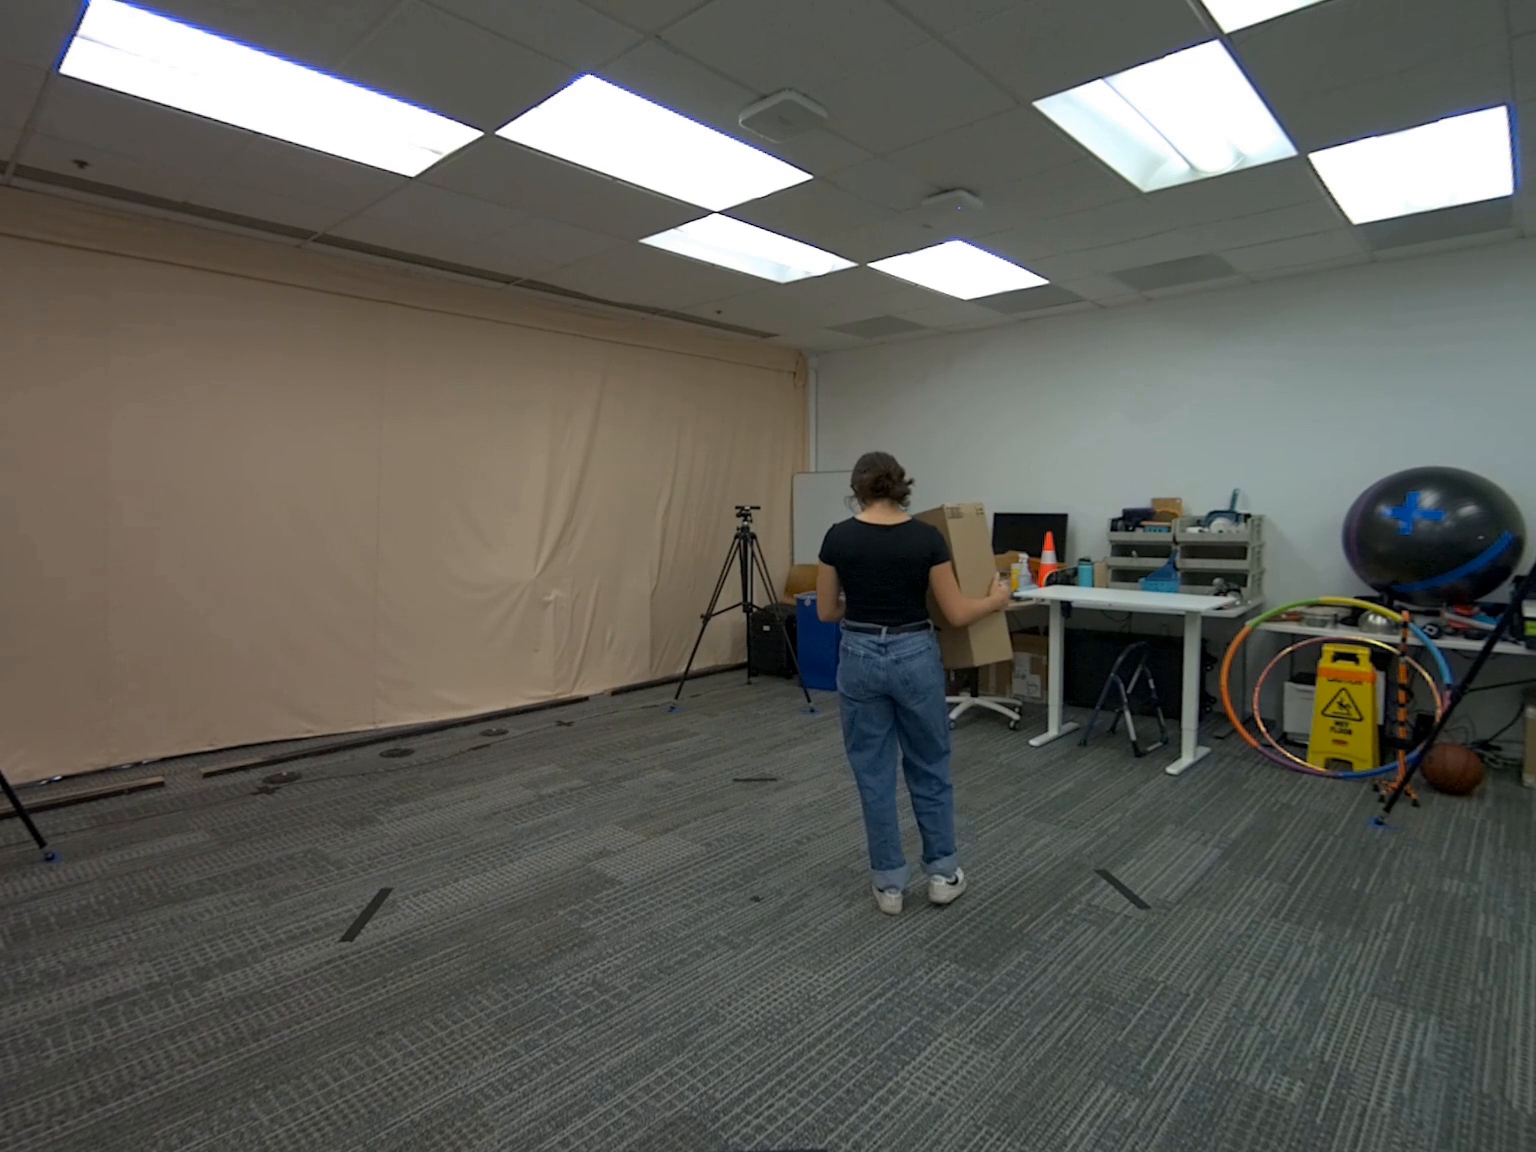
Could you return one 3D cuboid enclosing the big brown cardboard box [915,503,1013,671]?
[{"bbox_3d":[0.622,0.054,3.108,0.226,0.592,0.428,-3,-9,-38],"label":"big brown cardboard box"}]
